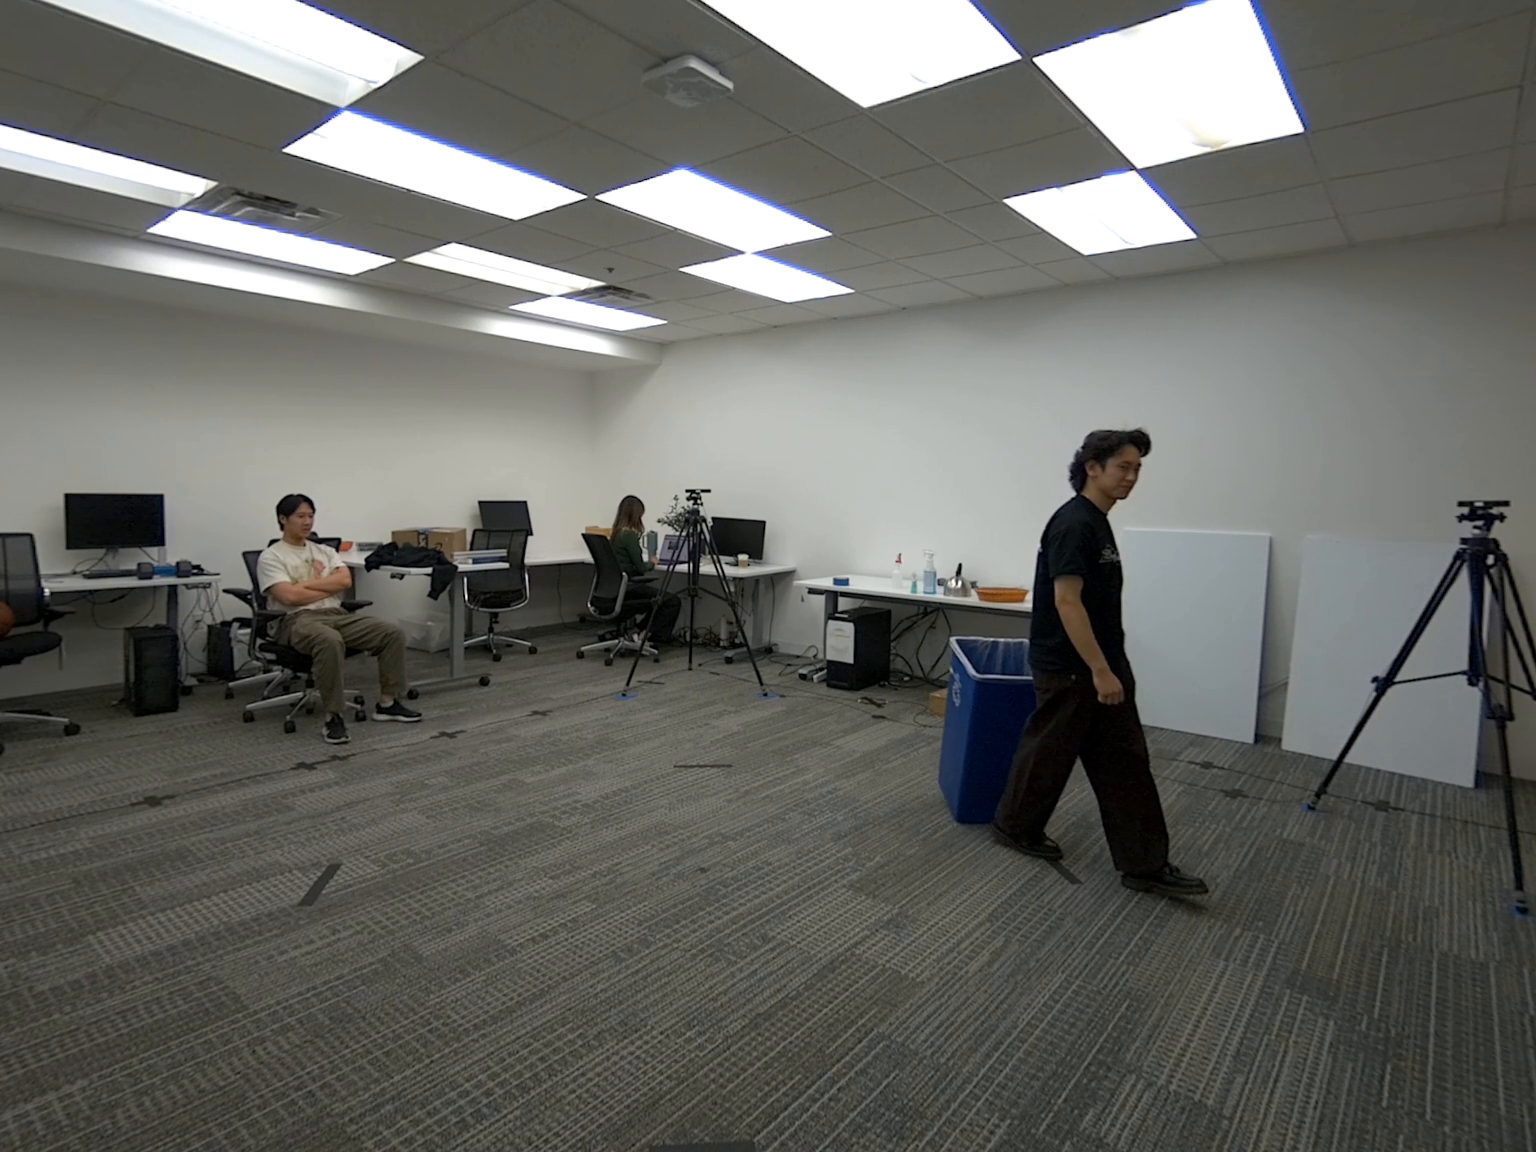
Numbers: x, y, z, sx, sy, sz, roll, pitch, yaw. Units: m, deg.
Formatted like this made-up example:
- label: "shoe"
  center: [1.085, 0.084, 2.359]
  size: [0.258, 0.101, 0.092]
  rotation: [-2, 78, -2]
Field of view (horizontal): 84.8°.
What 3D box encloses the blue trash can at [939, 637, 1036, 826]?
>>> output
- label: "blue trash can"
  center: [0.954, 0.667, 3.652]
  size: [0.377, 0.702, 0.381]
  rotation: [2, 18, -4]
